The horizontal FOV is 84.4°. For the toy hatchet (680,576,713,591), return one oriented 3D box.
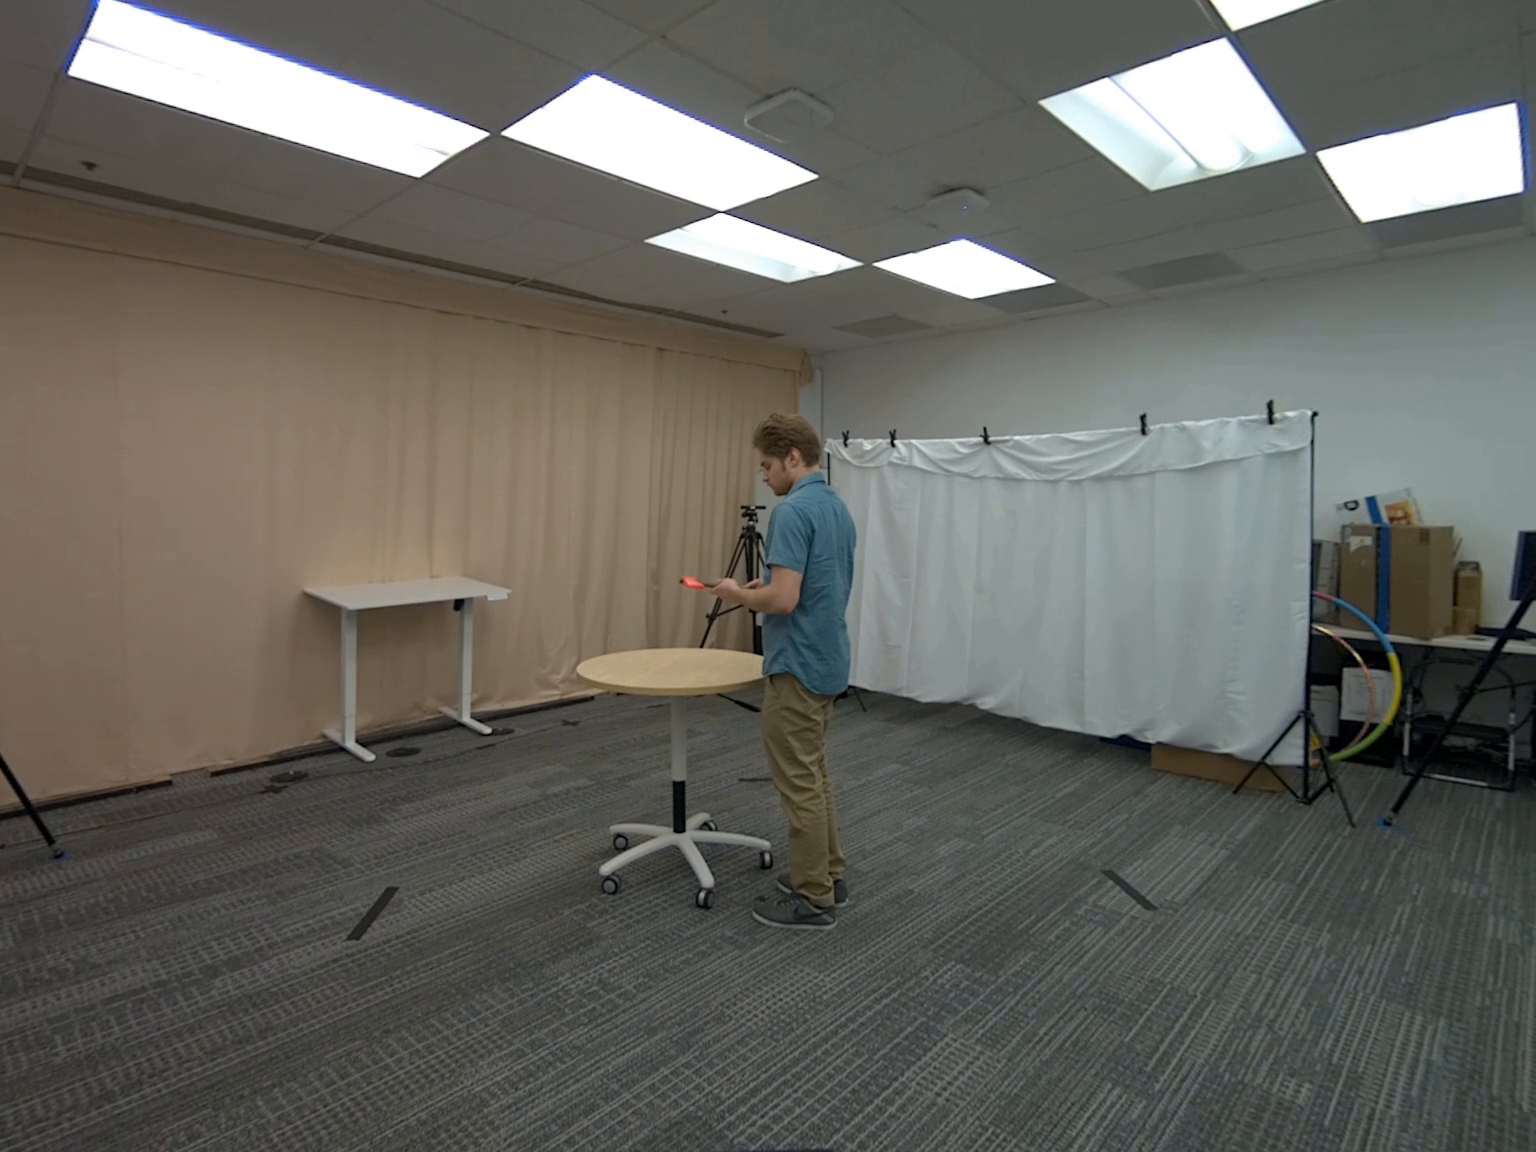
[{"bbox_3d":[-0.161,0.044,2.890,0.275,0.029,0.129,10,10,17],"label":"toy hatchet"}]
